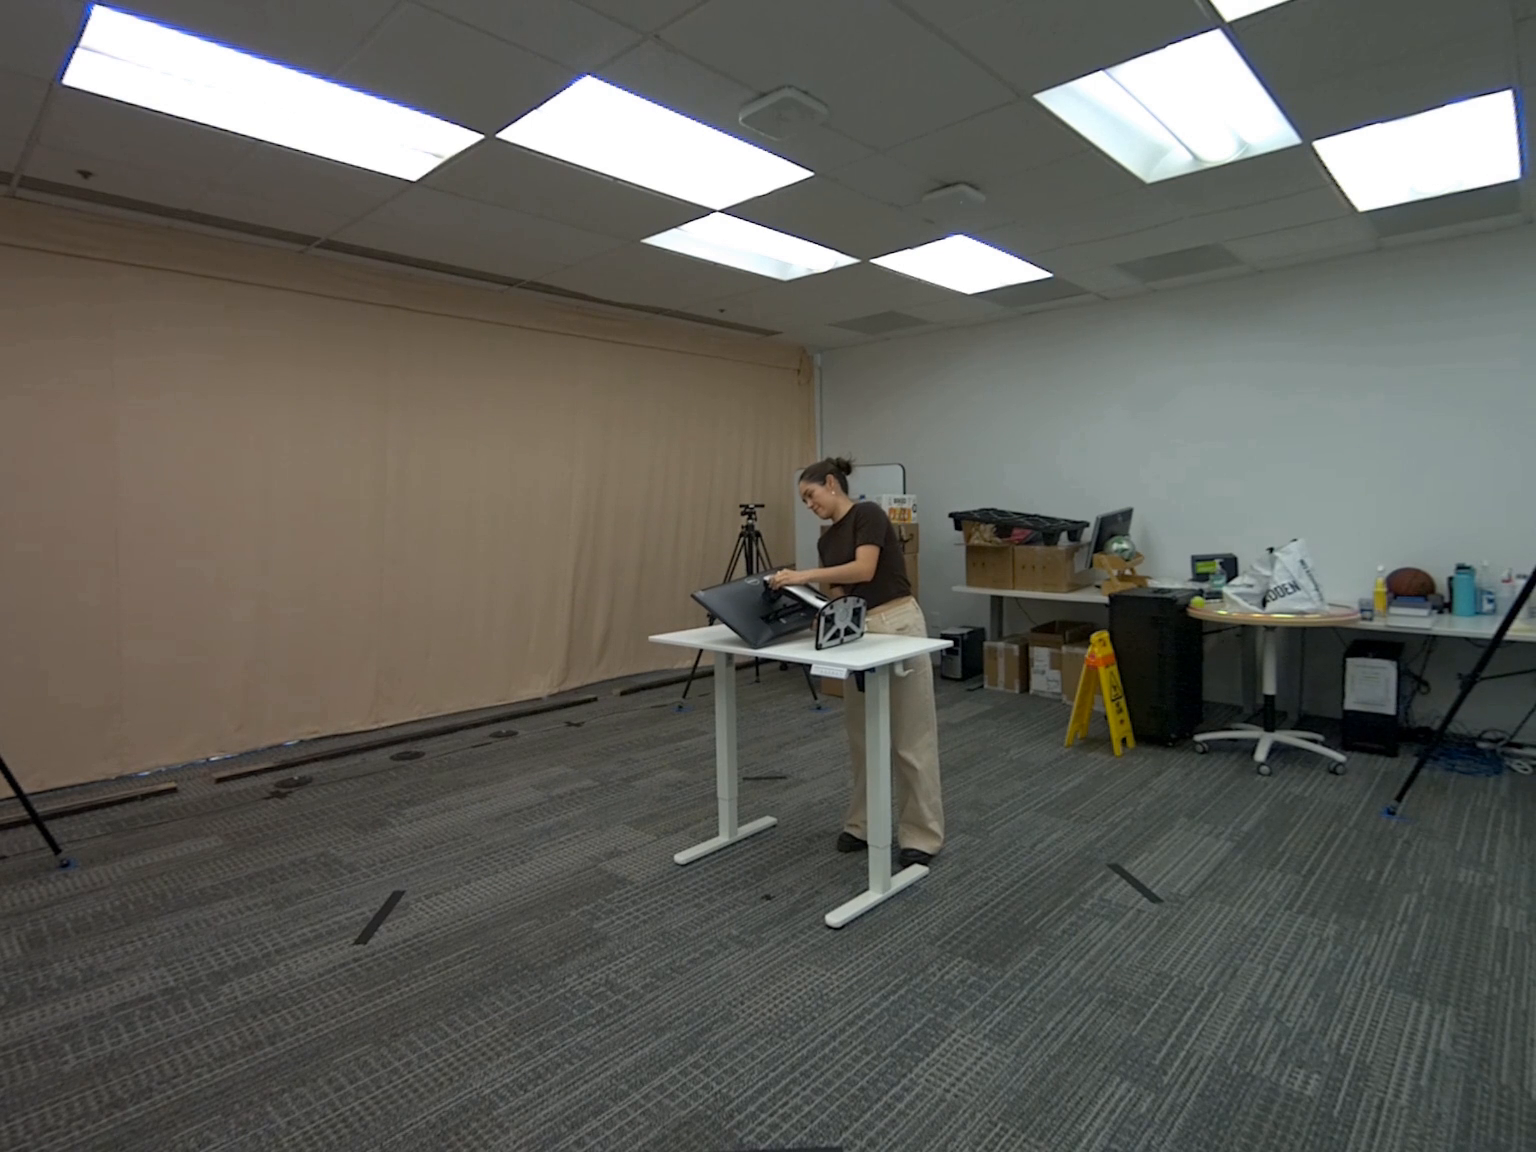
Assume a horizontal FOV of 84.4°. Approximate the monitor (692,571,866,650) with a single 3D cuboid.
[{"bbox_3d":[0.082,0.106,3.152,0.542,0.185,0.524,19,21,41],"label":"monitor"}]
